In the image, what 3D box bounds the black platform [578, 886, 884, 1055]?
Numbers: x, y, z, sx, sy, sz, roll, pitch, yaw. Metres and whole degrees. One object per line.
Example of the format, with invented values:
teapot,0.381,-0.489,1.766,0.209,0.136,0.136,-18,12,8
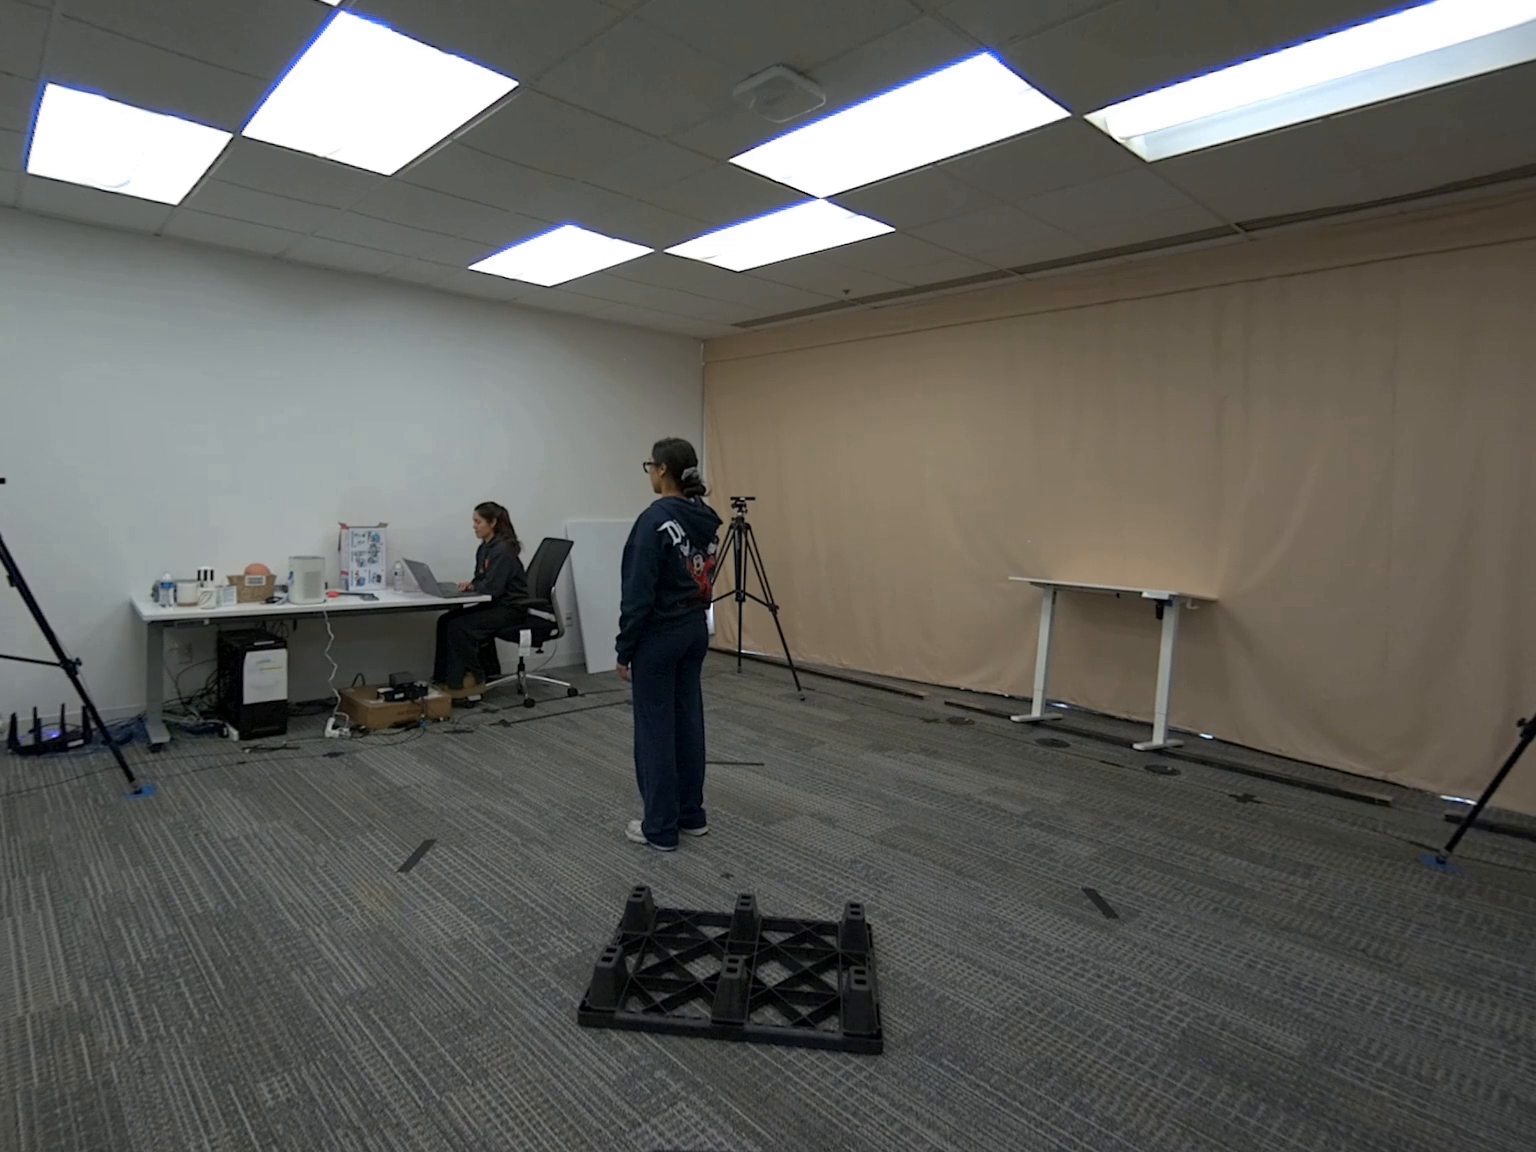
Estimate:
black platform,-0.090,1.106,2.444,0.809,0.143,0.604,2,5,5
